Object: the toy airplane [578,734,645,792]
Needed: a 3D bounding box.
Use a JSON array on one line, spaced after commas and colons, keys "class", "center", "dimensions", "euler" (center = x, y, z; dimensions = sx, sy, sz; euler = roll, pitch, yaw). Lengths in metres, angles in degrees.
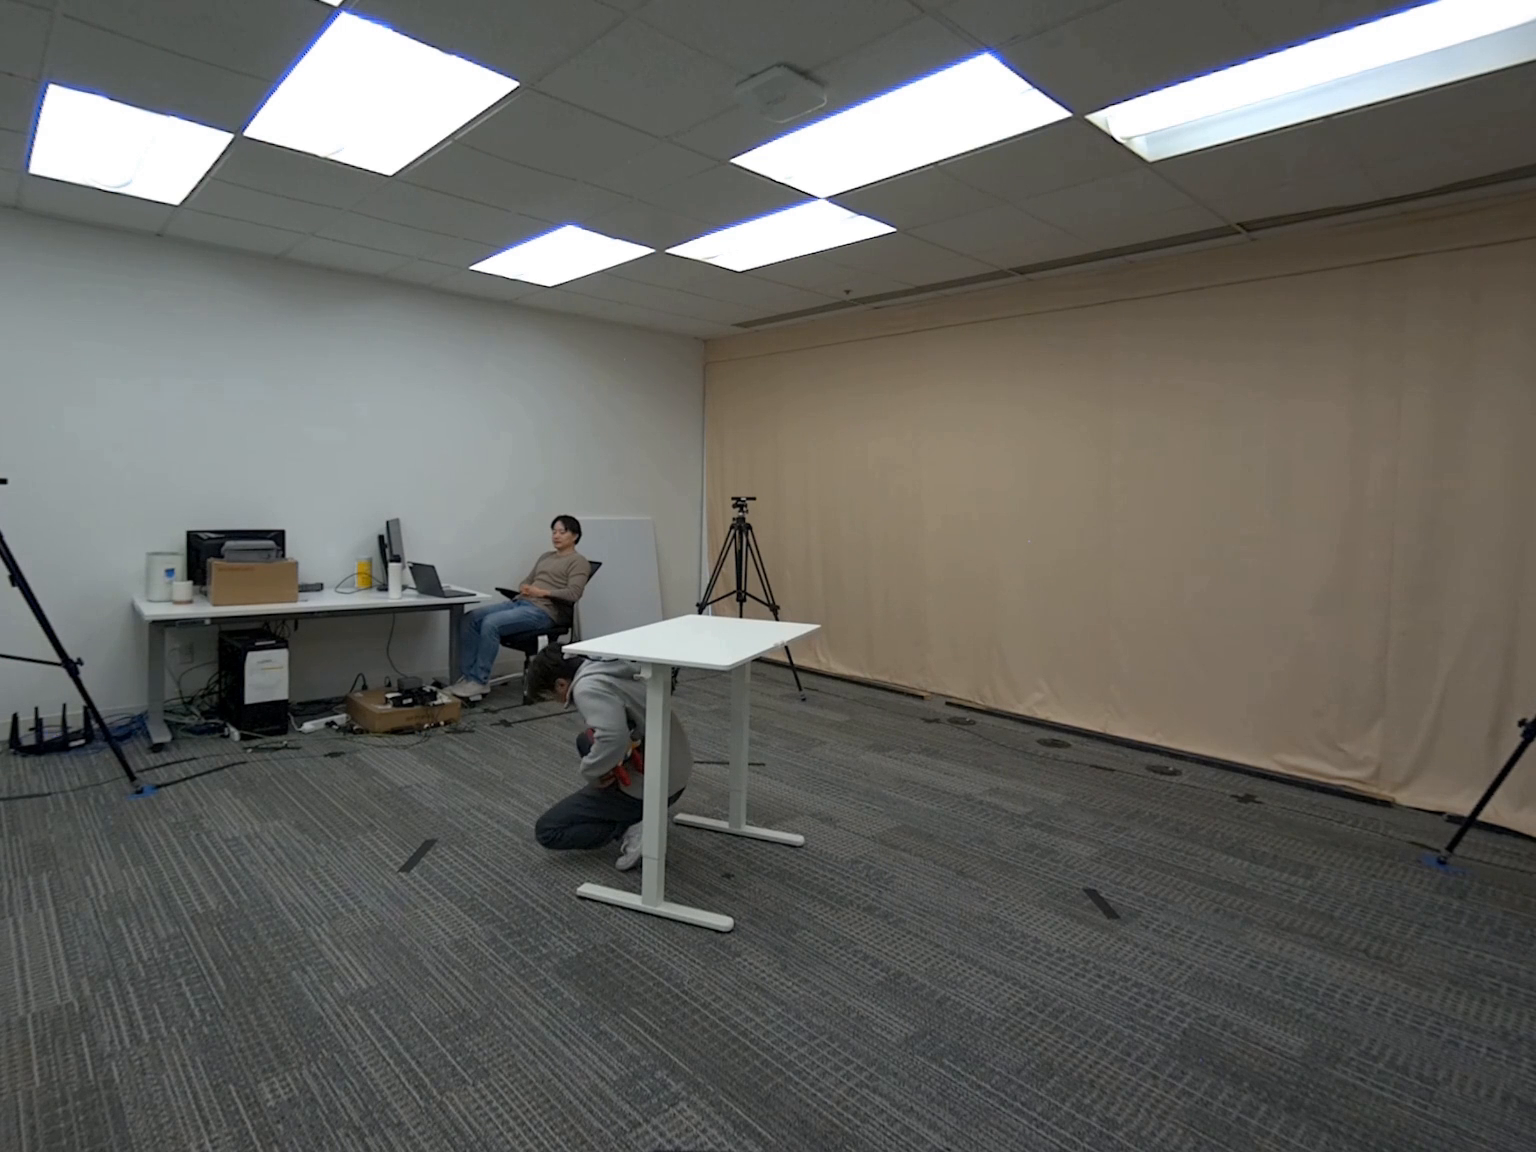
[{"class": "toy airplane", "center": [-0.548, 0.639, 3.145], "dimensions": [0.155, 0.263, 0.248], "euler": [-32, -15, -20]}]
